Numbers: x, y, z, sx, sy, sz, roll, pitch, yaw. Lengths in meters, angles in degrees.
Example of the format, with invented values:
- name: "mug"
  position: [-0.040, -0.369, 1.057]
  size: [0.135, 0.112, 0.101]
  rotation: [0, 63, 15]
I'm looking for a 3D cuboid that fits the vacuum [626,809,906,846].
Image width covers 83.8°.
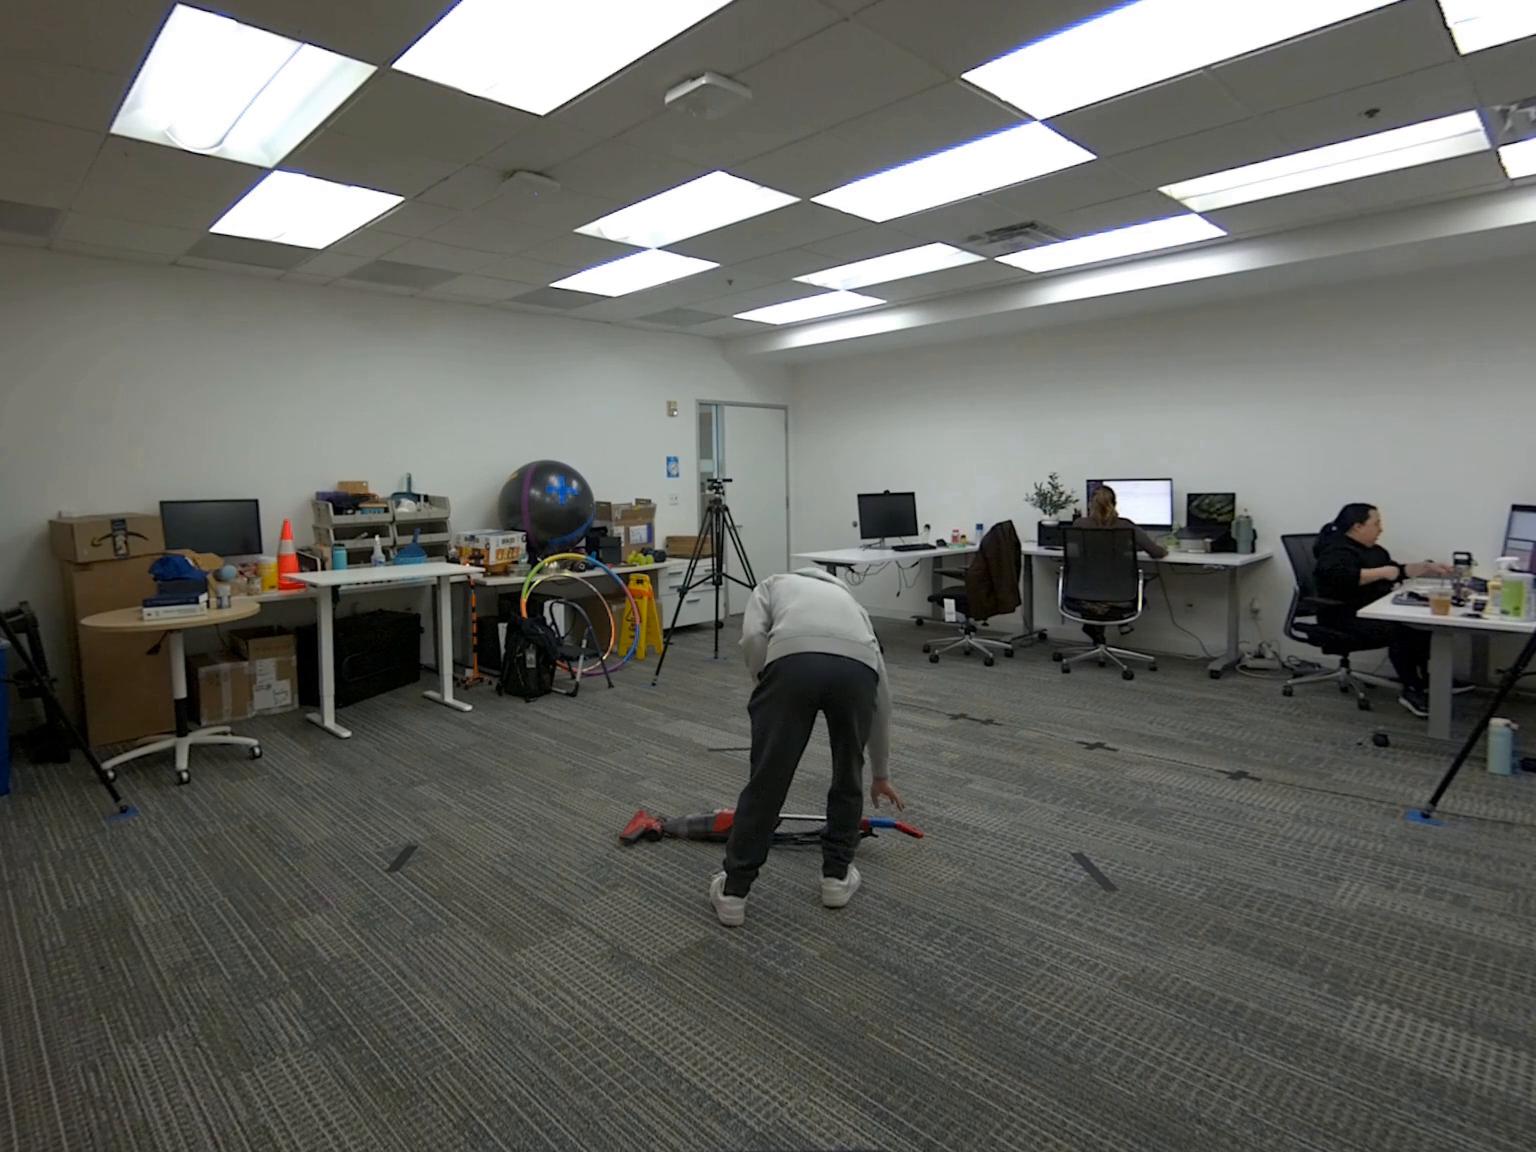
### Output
- name: "vacuum"
  position: [0.037, 0.960, 3.261]
  size: [1.060, 0.144, 0.250]
  rotation: [-3, 3, 11]
